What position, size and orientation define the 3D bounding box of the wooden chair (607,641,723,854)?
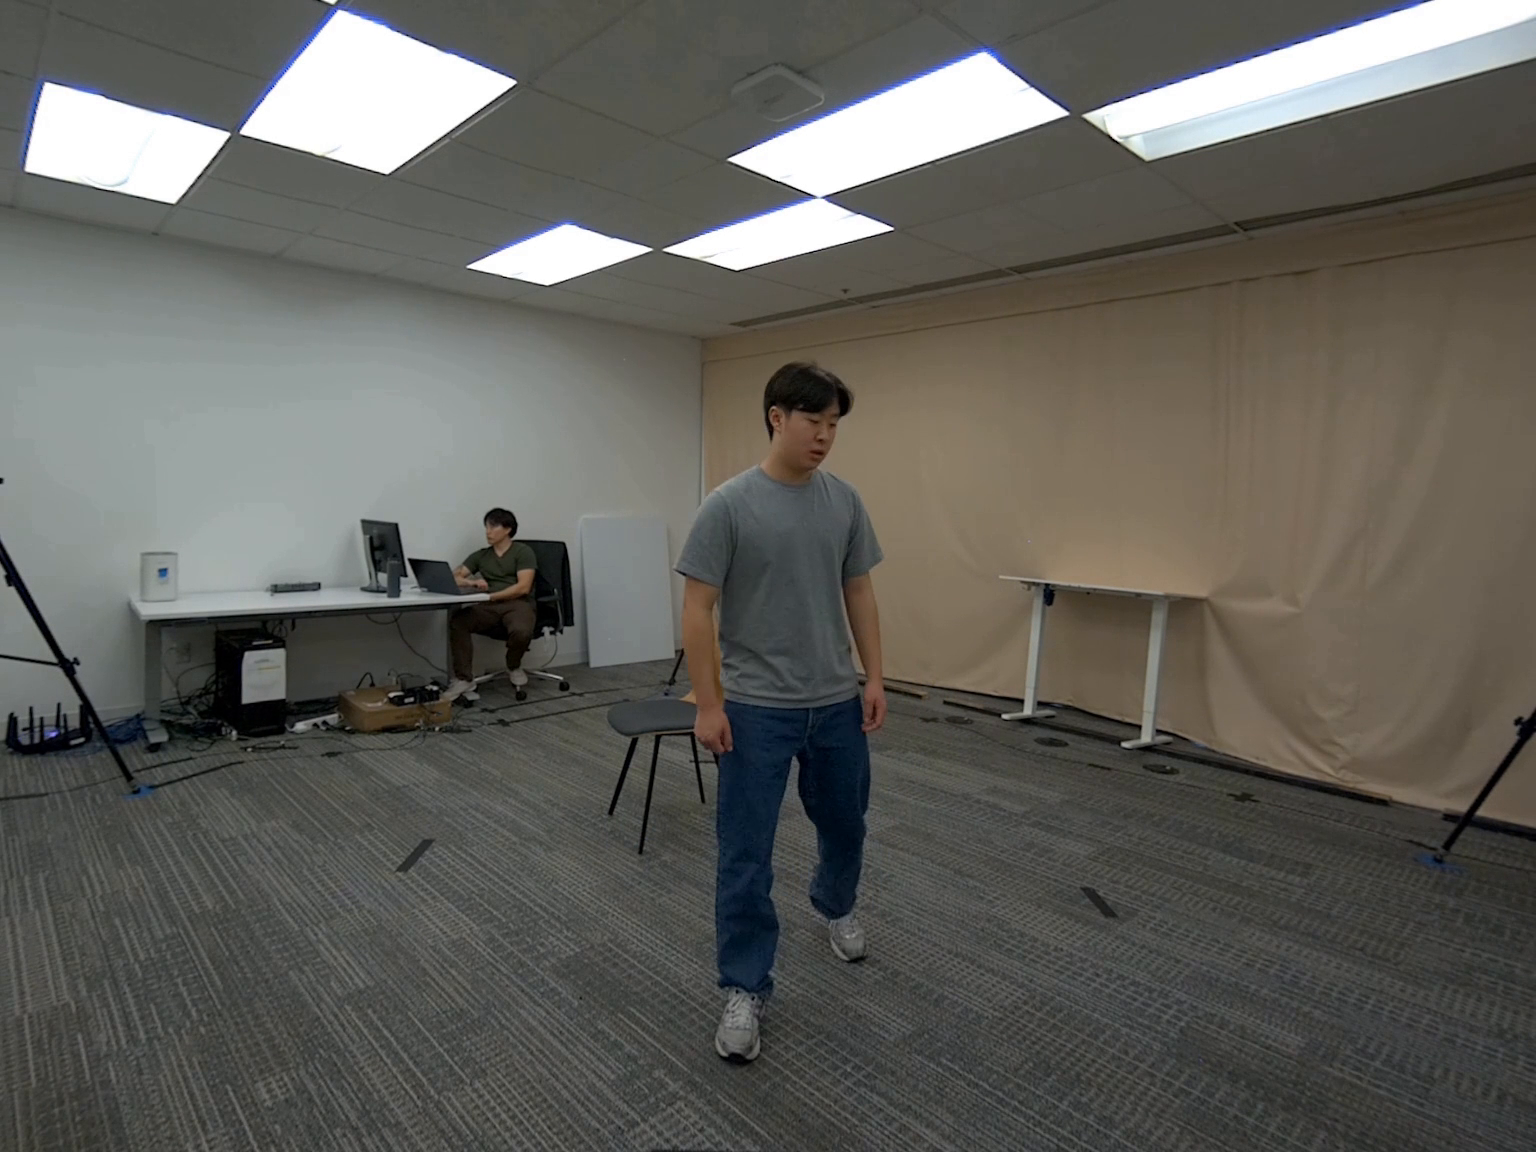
[{"bbox_3d":[-0.397,0.632,3.518,0.513,0.876,0.488,5,2,-25],"label":"wooden chair"}]
